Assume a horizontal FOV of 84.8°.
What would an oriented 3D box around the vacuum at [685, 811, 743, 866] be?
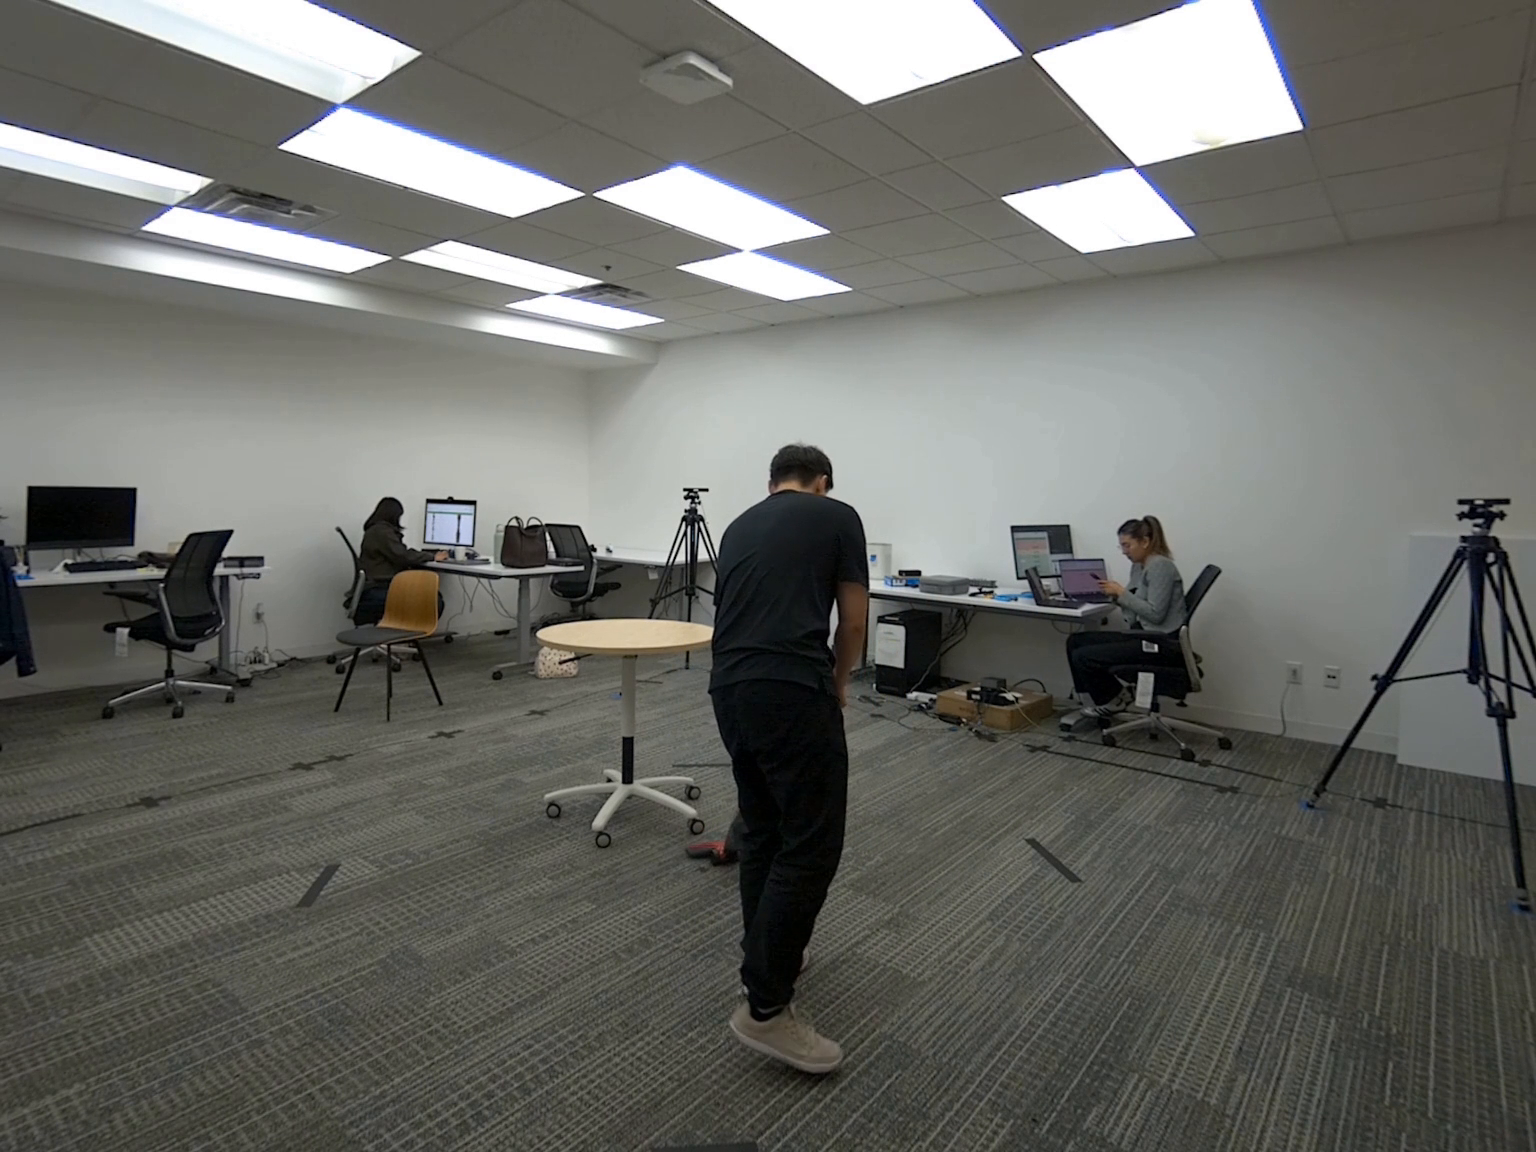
[{"bbox_3d":[-0.004,0.714,2.870,0.246,0.149,1.037,-2,-39,-28],"label":"vacuum"}]
